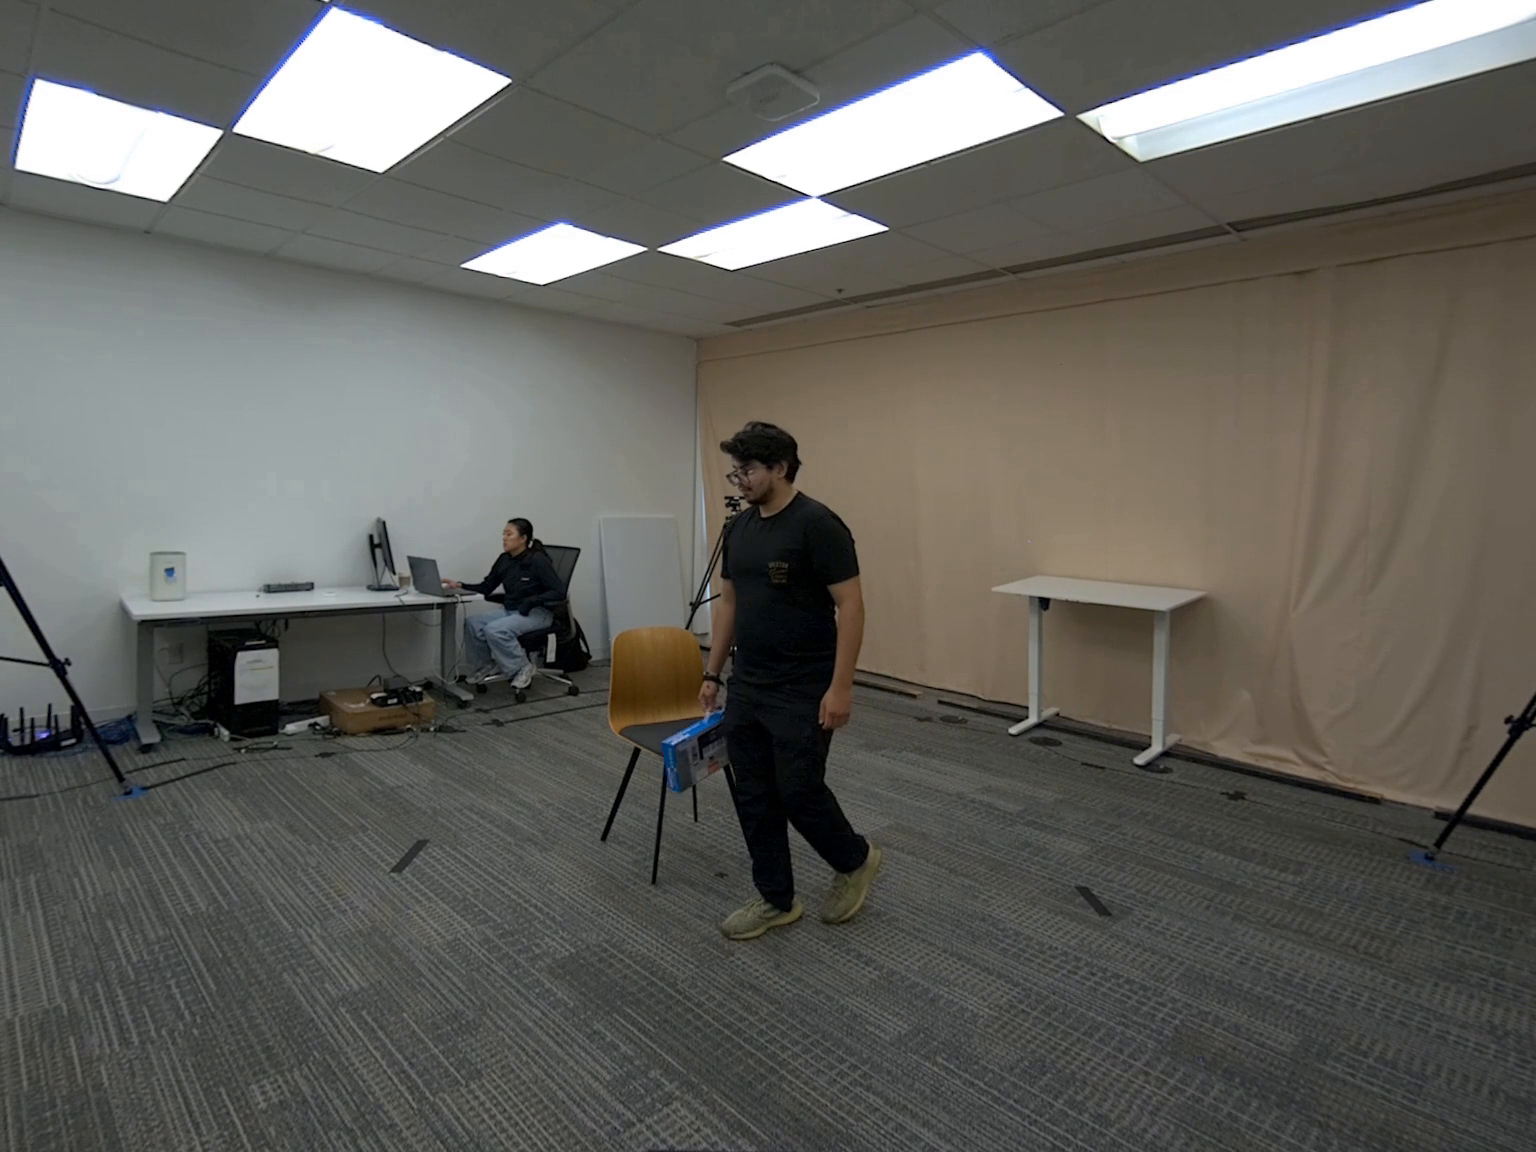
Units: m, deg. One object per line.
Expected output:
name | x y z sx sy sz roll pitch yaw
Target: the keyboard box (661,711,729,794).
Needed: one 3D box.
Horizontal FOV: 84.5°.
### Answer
keyboard box | -0.174 0.565 2.872 0.060 0.174 0.430 6 19 42
